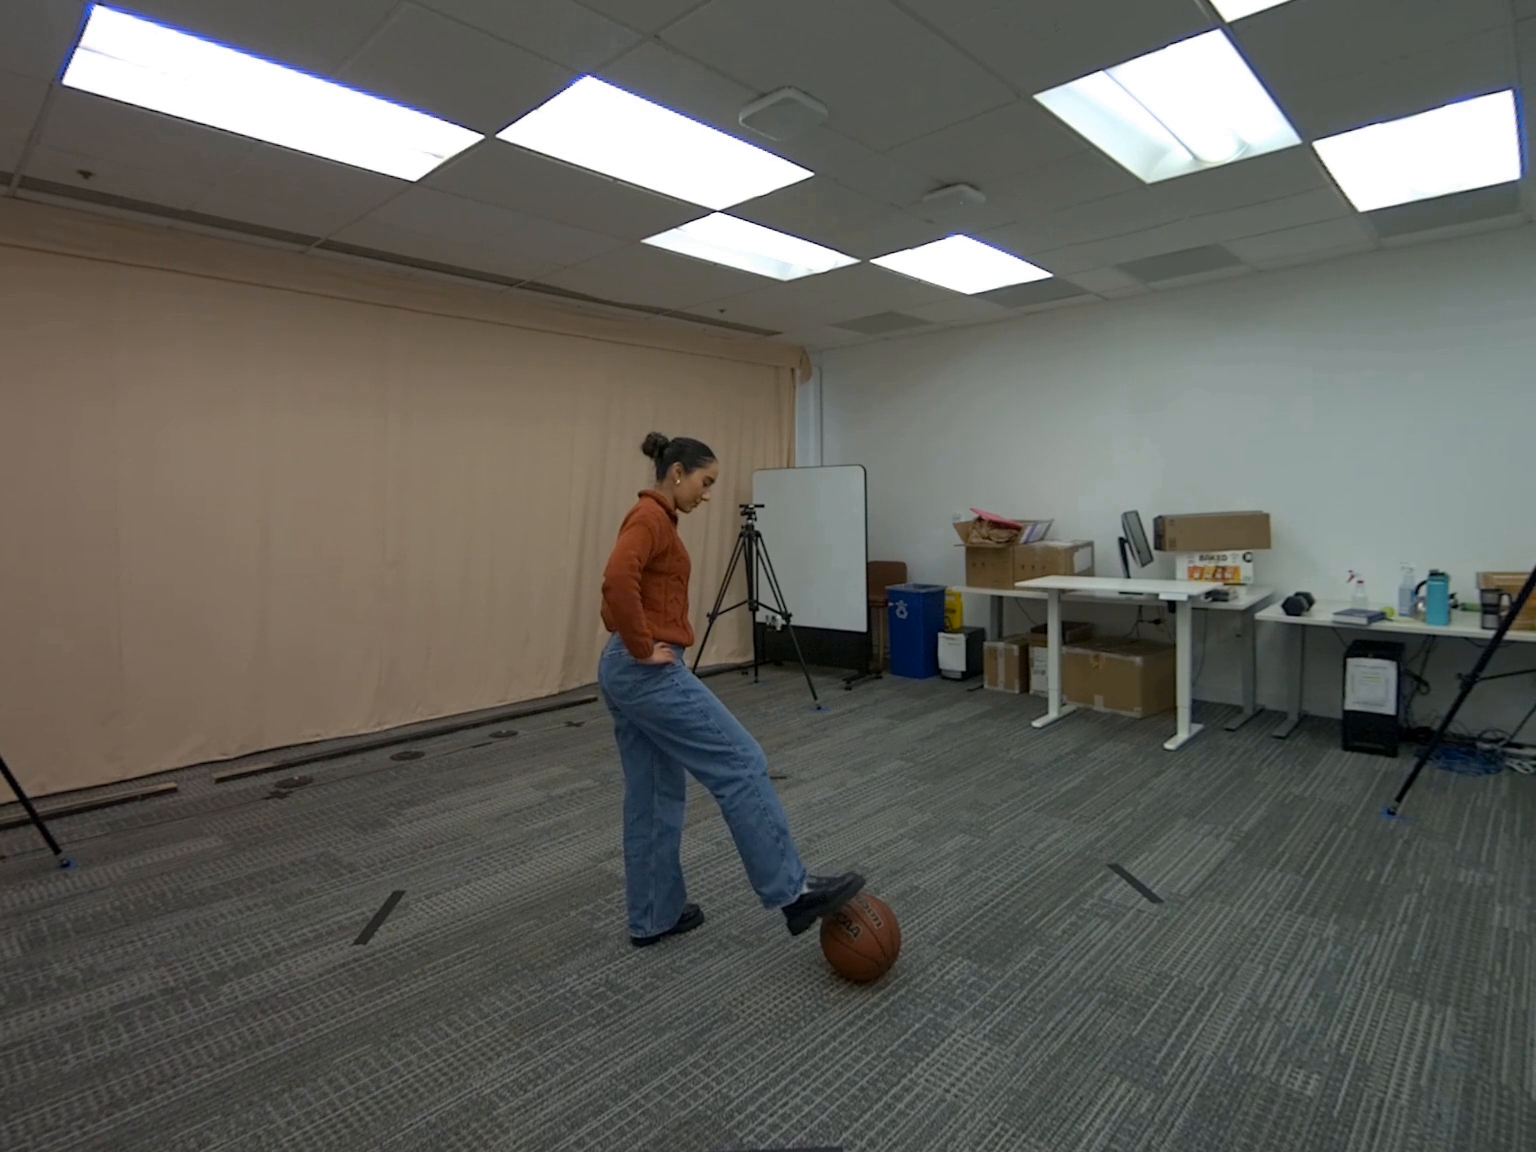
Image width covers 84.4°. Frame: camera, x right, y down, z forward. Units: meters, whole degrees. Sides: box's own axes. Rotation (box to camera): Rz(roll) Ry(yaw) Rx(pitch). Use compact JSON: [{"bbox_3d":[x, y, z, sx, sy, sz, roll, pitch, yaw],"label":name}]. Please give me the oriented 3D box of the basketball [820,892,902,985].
[{"bbox_3d":[0.280,1.061,2.475,0.236,0.235,0.237,-1,4,-2],"label":"basketball"}]
